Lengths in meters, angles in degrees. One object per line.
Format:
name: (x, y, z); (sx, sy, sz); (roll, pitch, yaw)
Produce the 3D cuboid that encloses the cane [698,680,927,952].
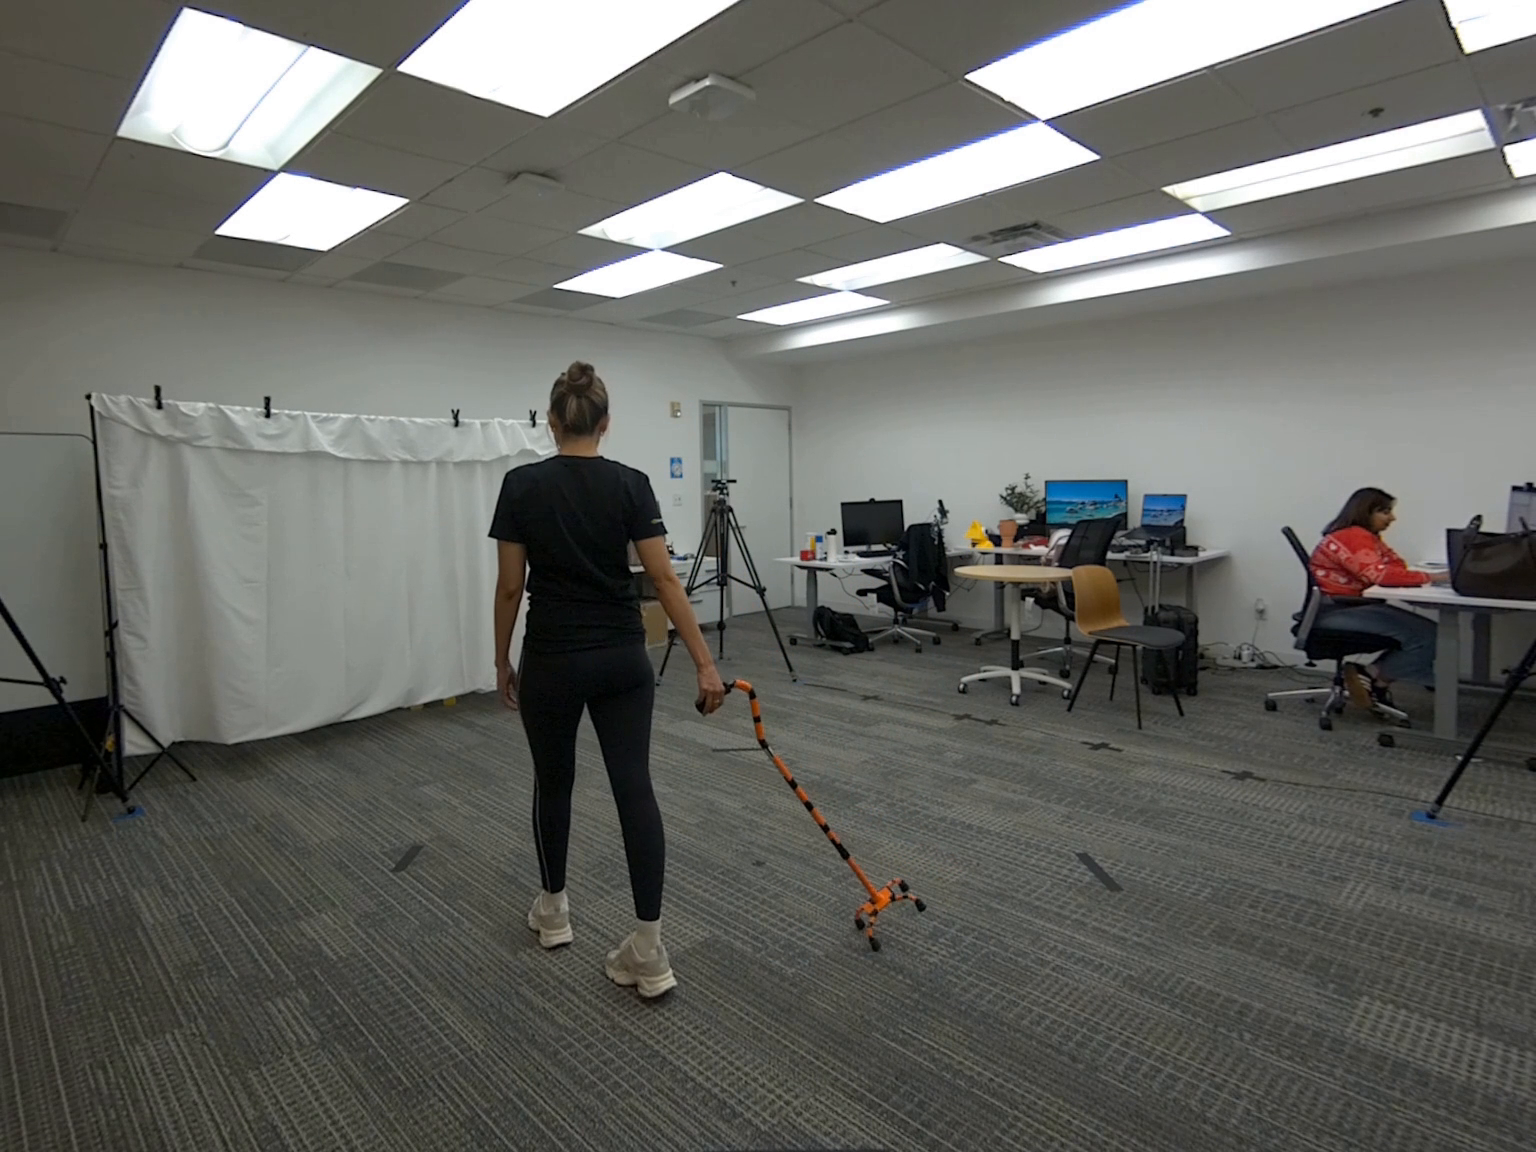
cane: (0.133, 0.684, 2.530); (0.206, 0.897, 0.154); (-37, 9, -8)
